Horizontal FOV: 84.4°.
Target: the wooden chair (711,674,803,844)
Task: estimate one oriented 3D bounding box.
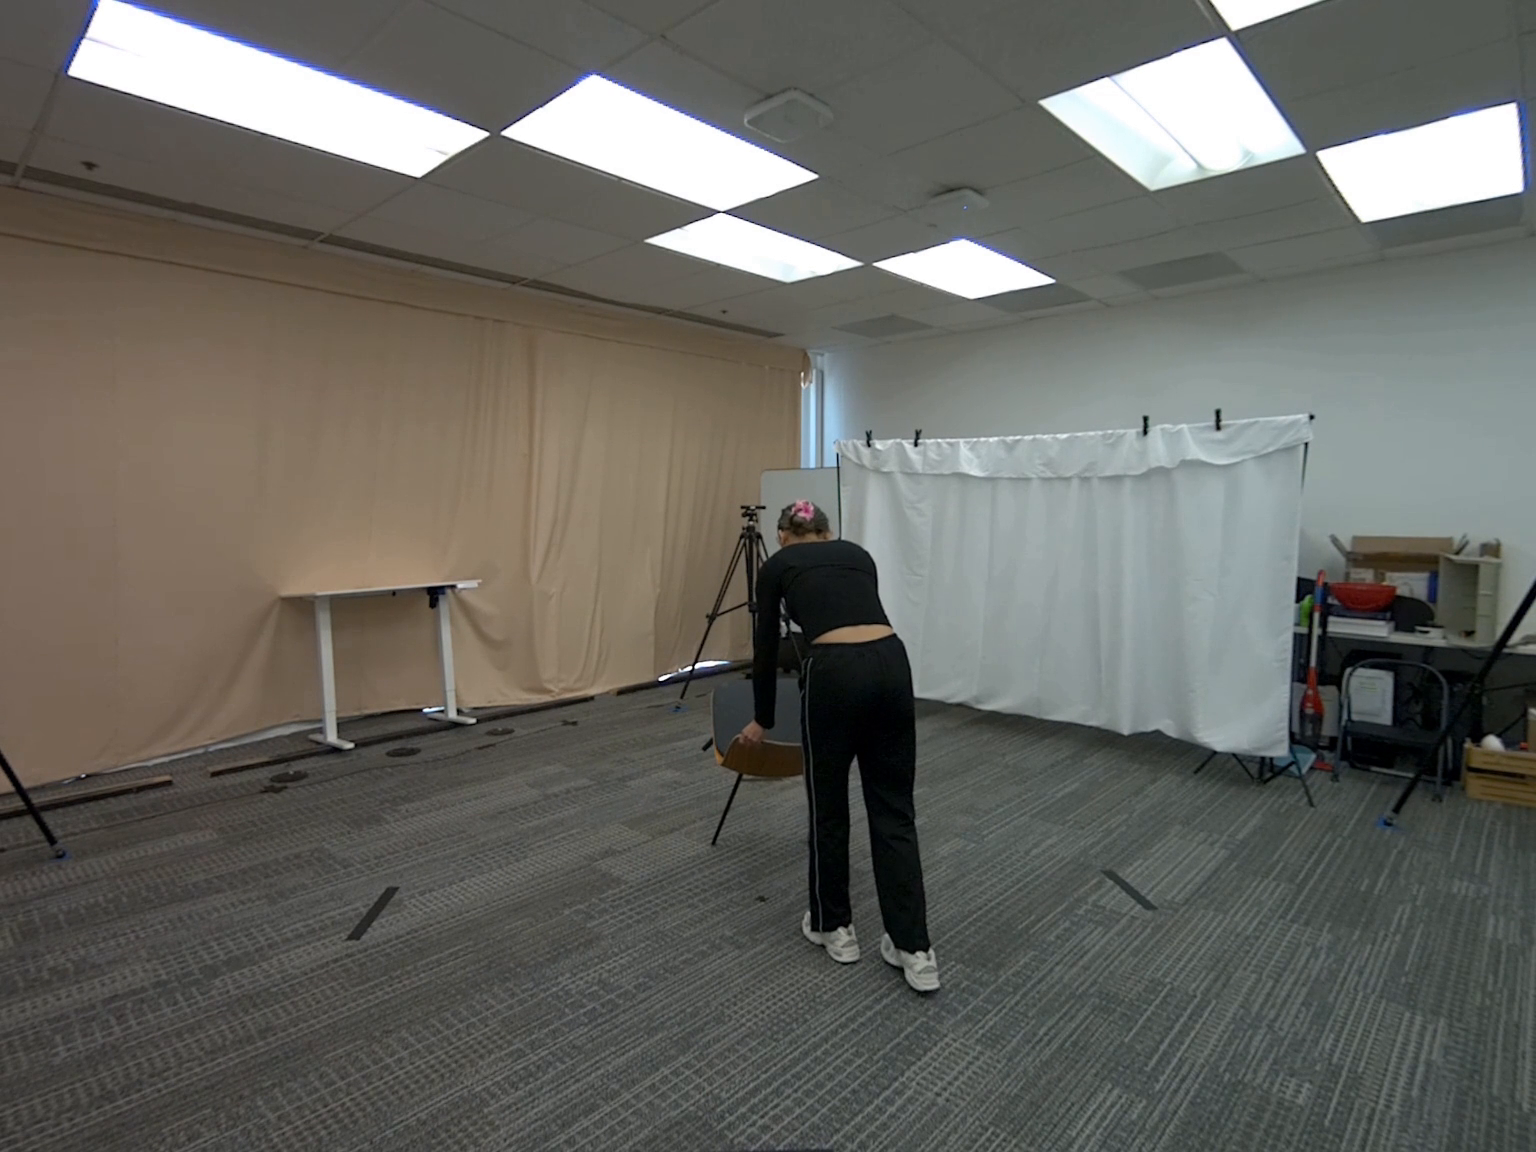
[{"bbox_3d":[0.011,0.631,3.336,0.474,0.534,0.866,0,-39,-9],"label":"wooden chair"}]
